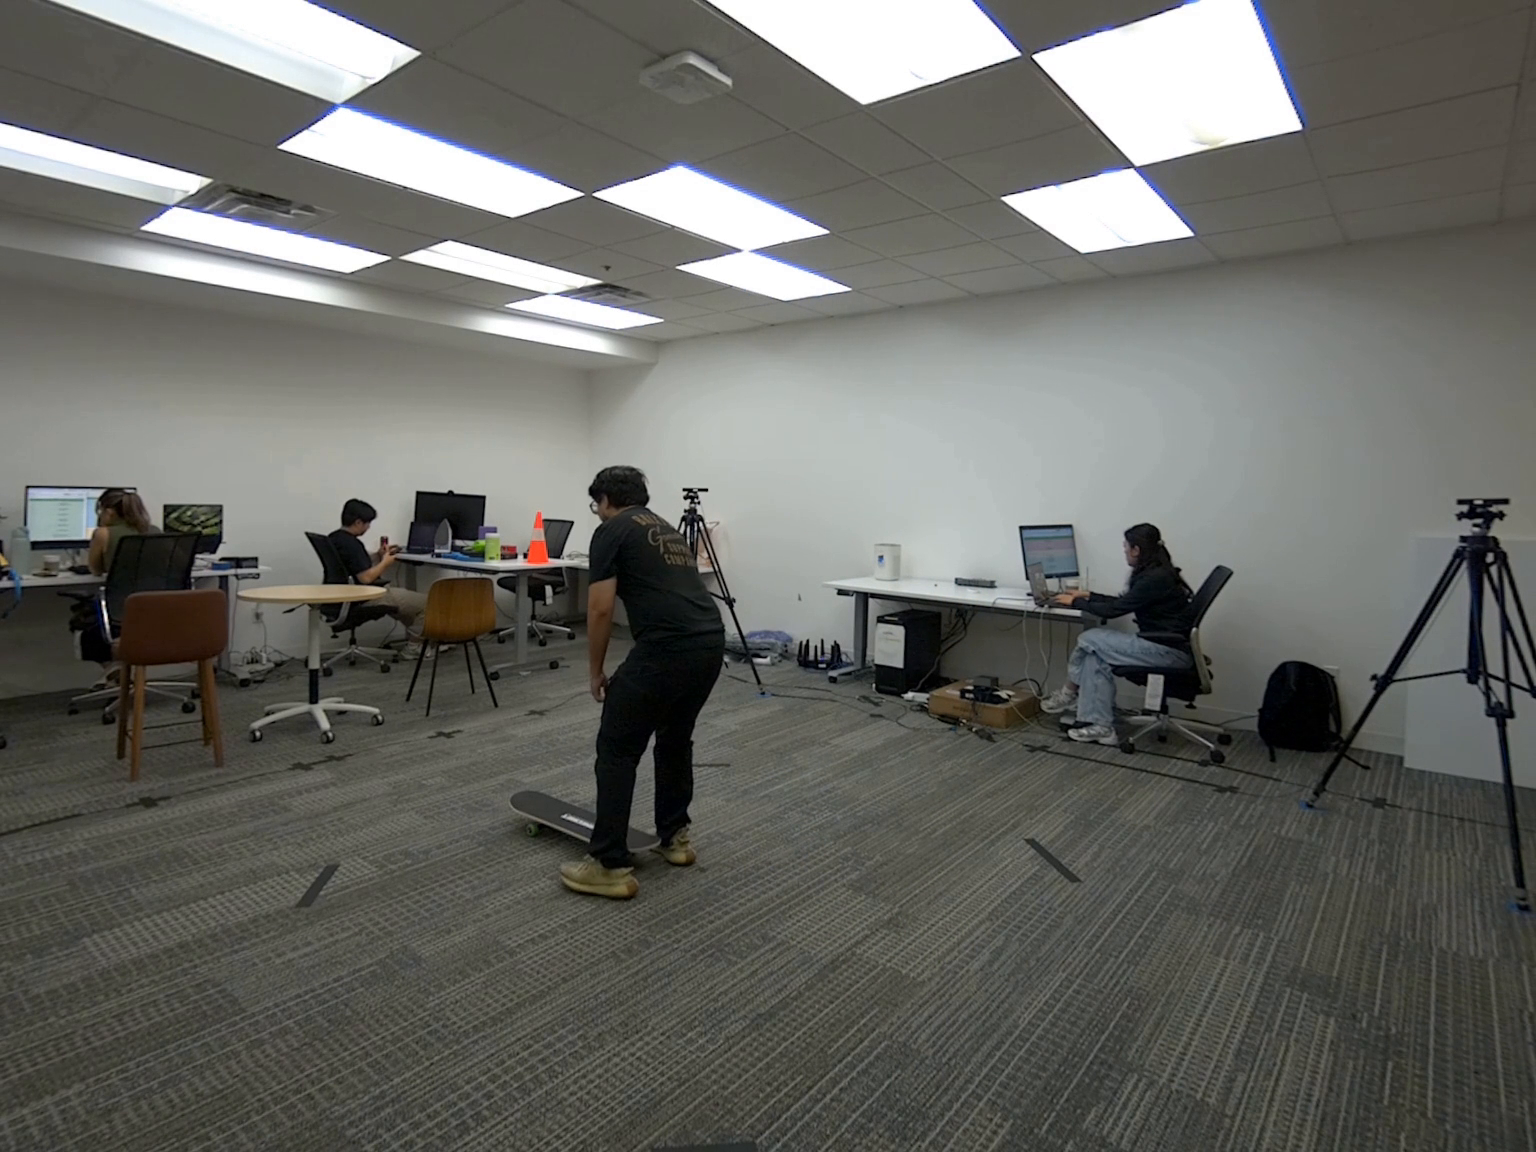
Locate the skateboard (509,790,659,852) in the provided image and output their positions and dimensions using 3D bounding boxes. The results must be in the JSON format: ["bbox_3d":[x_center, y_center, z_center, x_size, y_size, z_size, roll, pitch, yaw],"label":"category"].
[{"bbox_3d":[-0.743,0.987,3.309,0.812,0.110,0.188,6,6,38],"label":"skateboard"}]
